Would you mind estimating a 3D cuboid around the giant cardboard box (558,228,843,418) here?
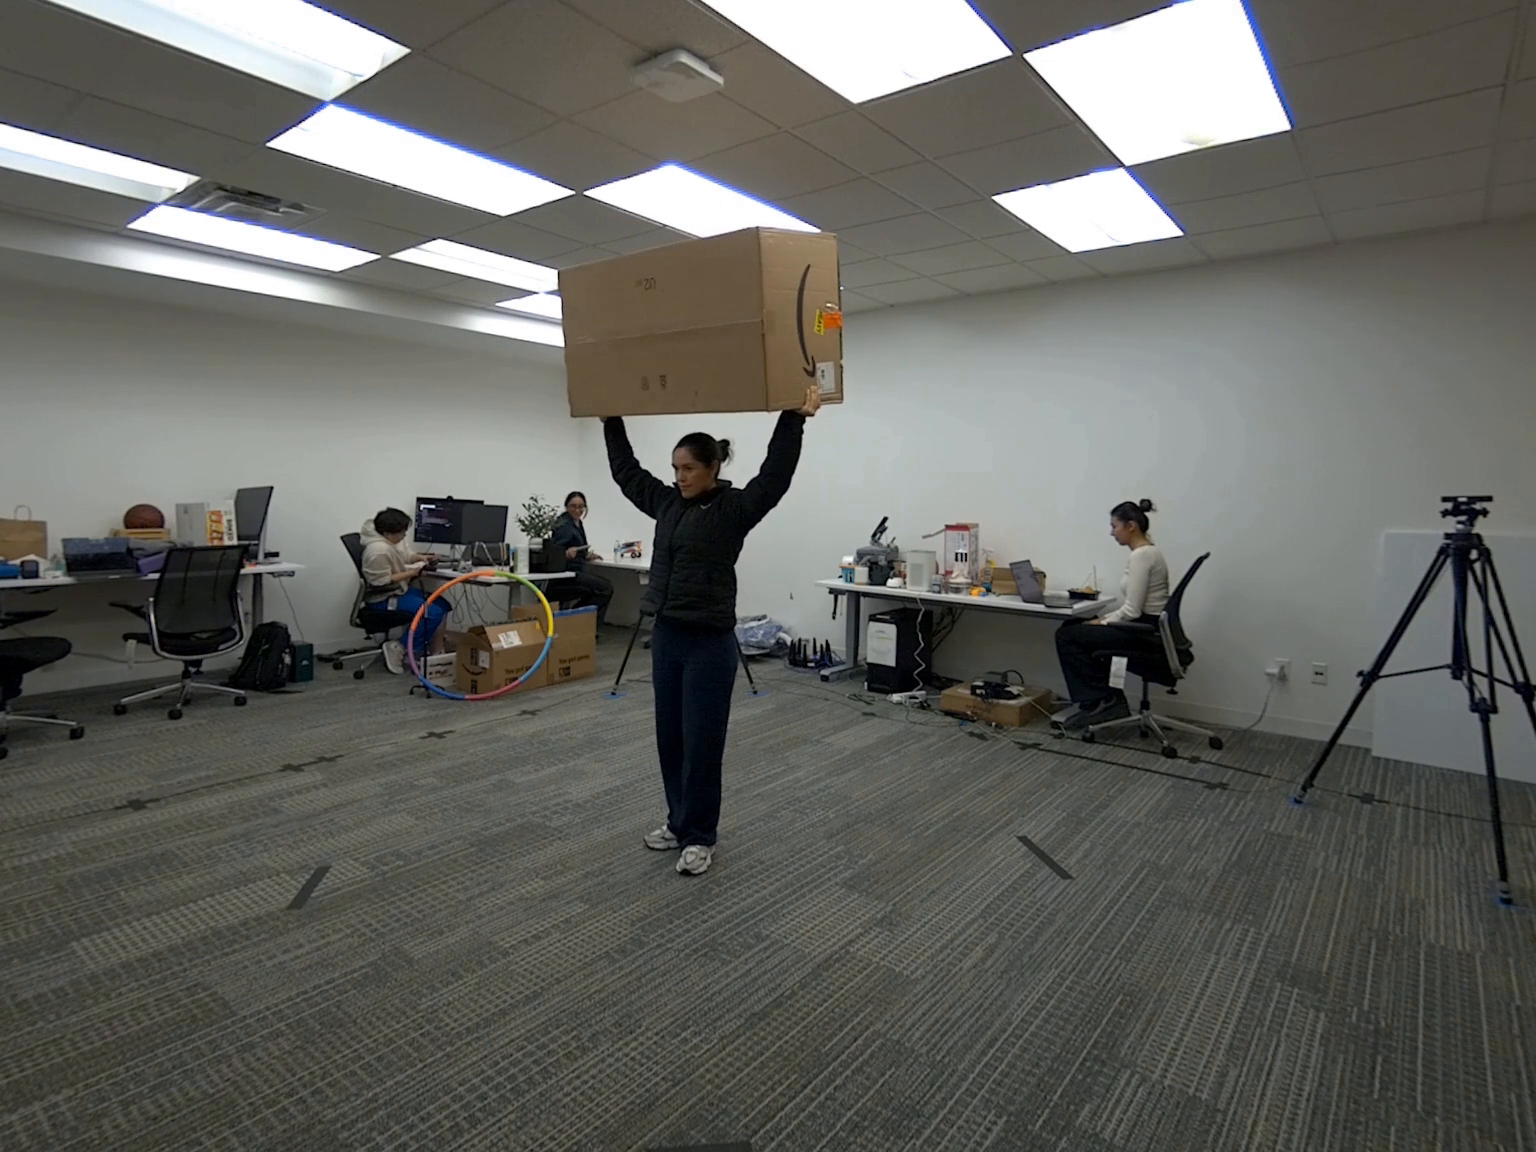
[{"bbox_3d":[-0.258,-0.895,3.152,1.063,0.578,0.436,8,15,41],"label":"giant cardboard box"}]
